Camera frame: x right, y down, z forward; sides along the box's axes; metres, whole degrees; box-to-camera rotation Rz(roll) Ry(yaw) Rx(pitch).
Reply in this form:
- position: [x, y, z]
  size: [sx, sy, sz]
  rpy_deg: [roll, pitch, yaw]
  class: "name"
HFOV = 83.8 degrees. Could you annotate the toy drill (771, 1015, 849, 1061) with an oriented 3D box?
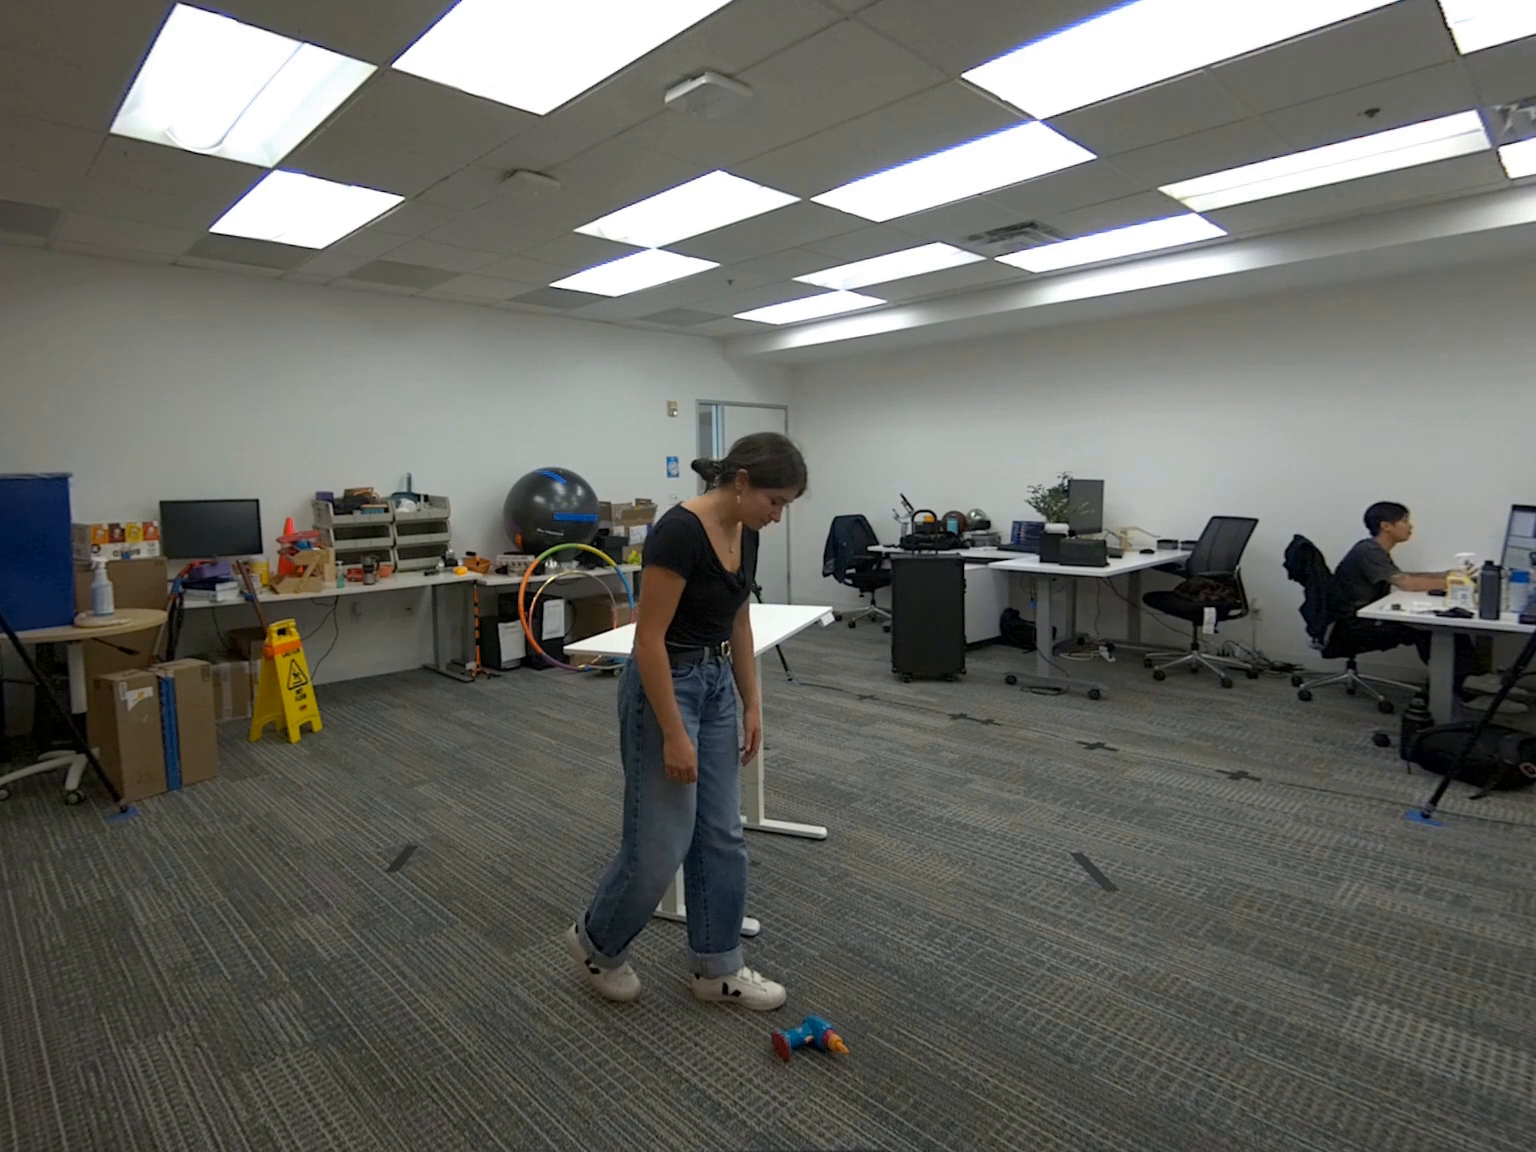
- position: [0.108, 1.130, 2.077]
  size: [0.142, 0.061, 0.174]
  rpy_deg: [-5, 4, -32]
  class: "toy drill"
